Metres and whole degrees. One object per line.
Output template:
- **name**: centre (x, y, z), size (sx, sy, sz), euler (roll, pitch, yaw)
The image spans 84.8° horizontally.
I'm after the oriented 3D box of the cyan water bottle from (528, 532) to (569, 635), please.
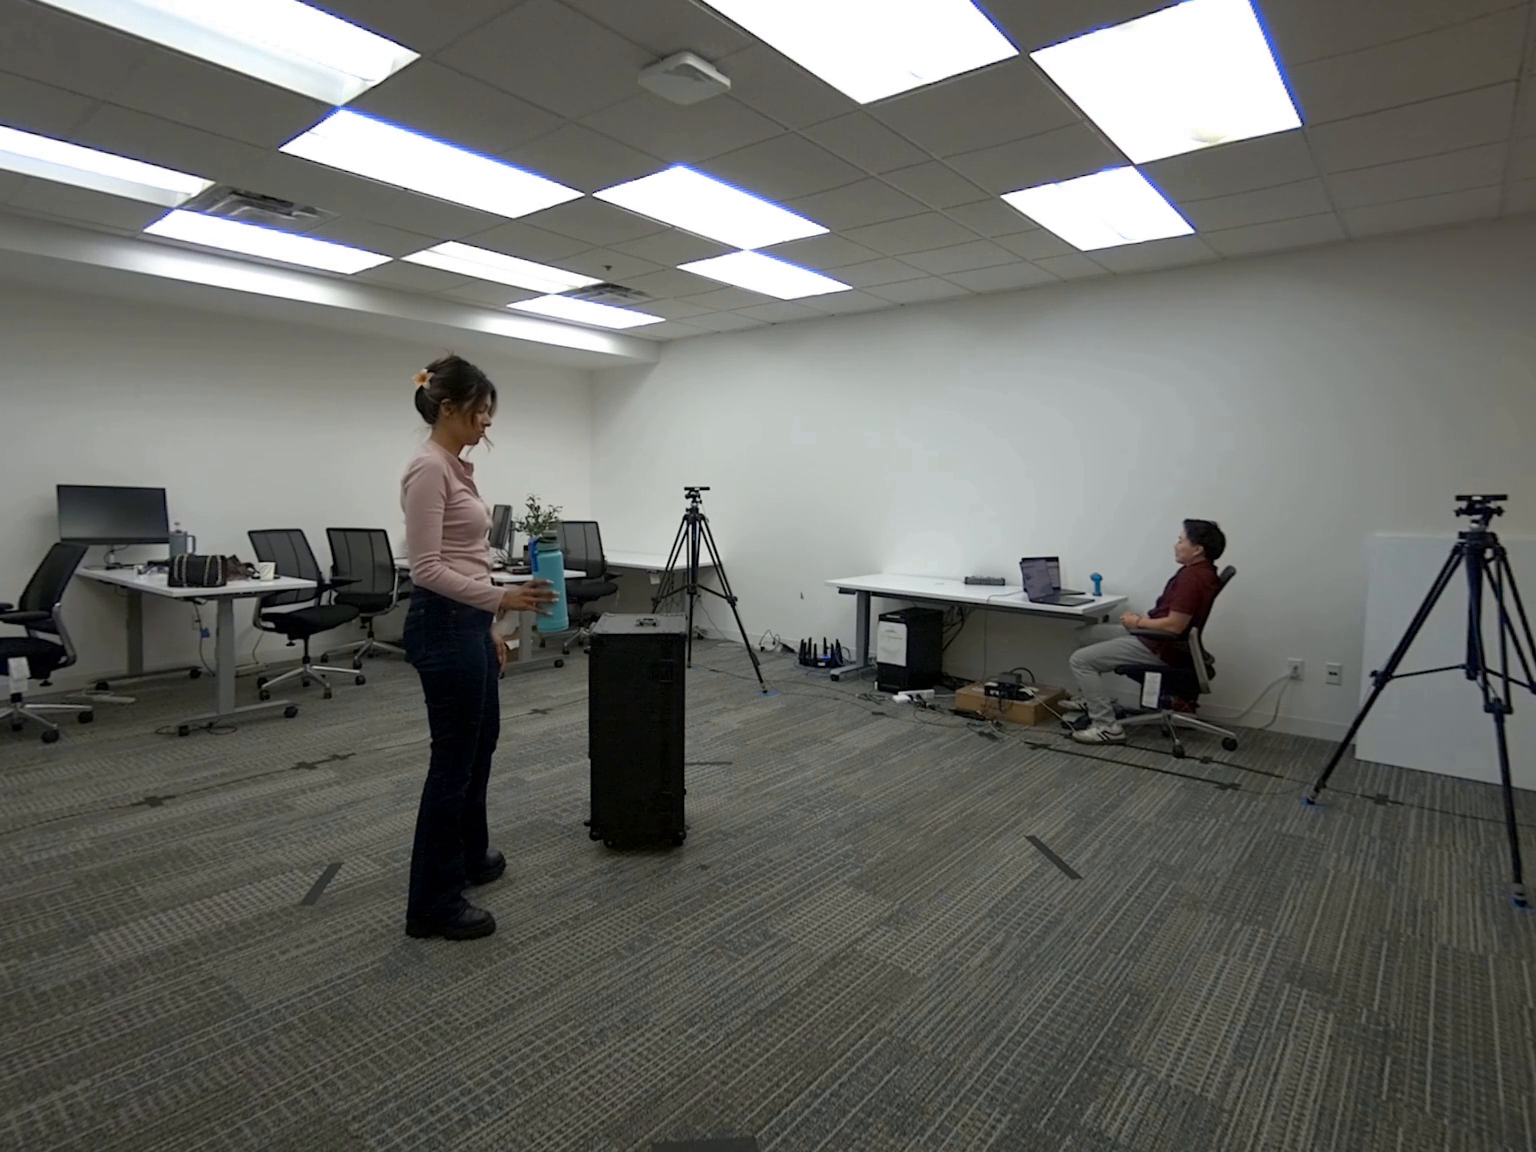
- **cyan water bottle**: centre (-0.646, 0.014, 2.427), size (0.092, 0.281, 0.093), euler (-3, 9, -1)
